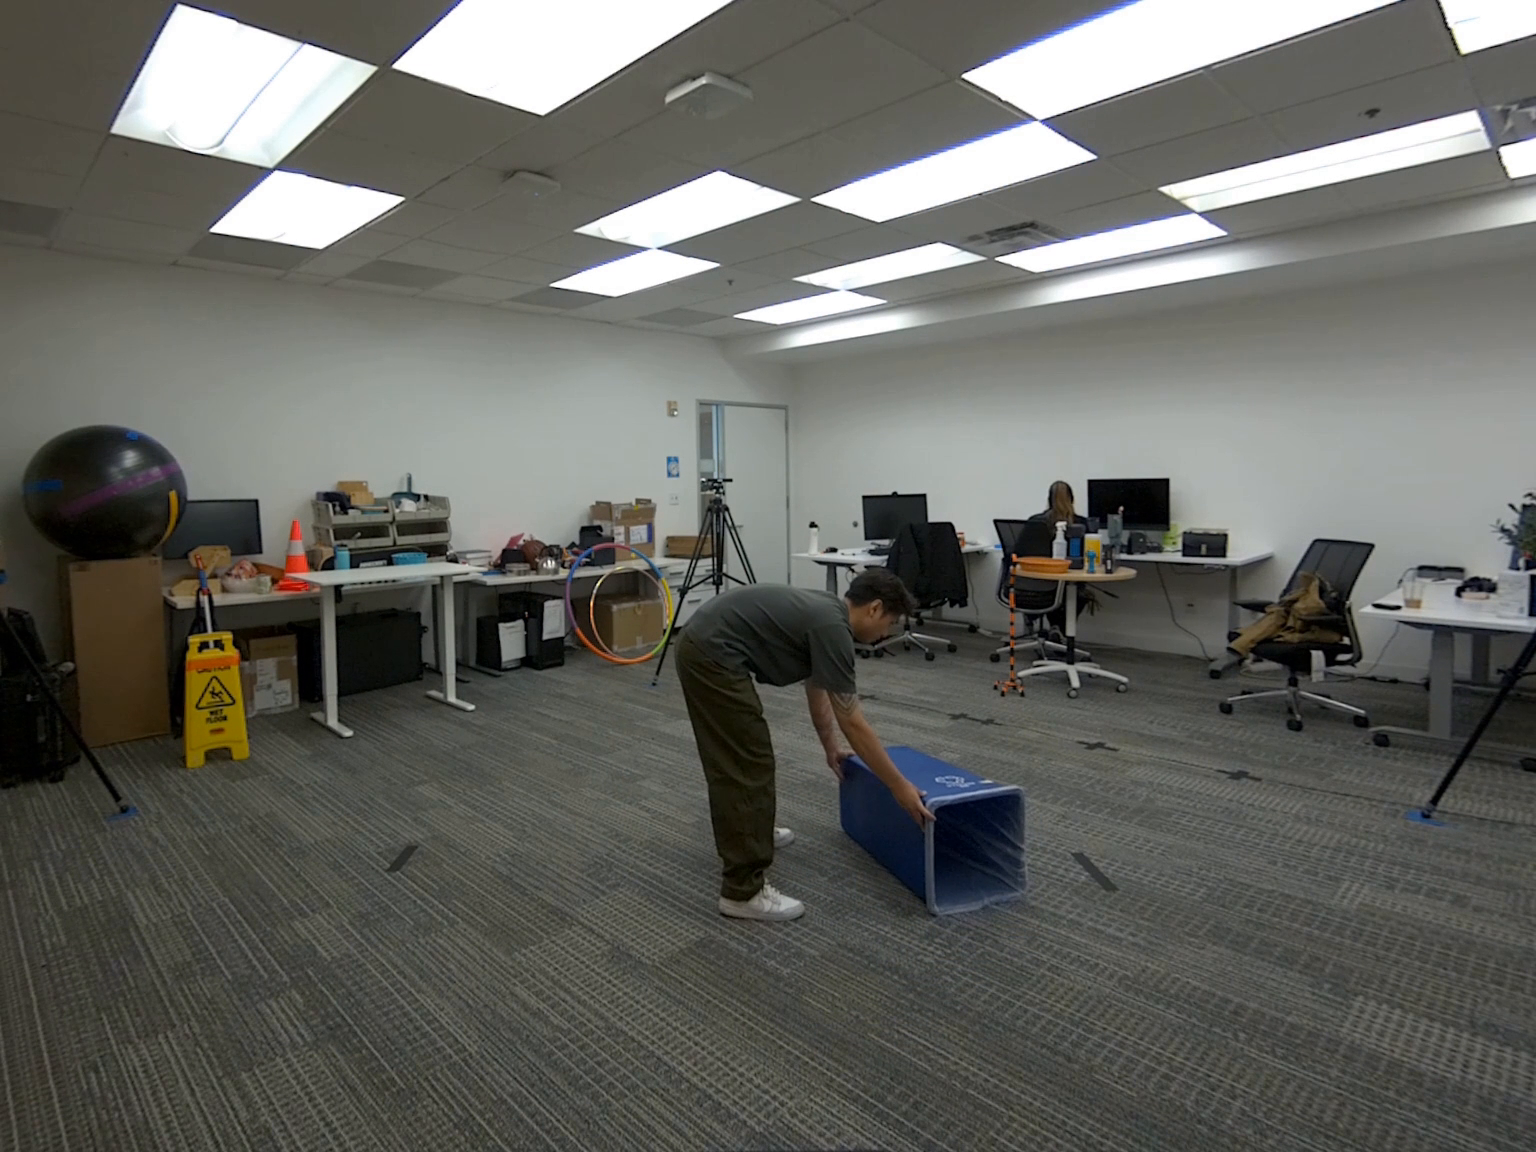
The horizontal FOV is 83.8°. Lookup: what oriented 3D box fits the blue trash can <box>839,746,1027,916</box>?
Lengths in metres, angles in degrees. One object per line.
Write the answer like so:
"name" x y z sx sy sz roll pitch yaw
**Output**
"blue trash can" 0.554 0.860 3.099 0.371 0.373 0.728 -4 5 -21
